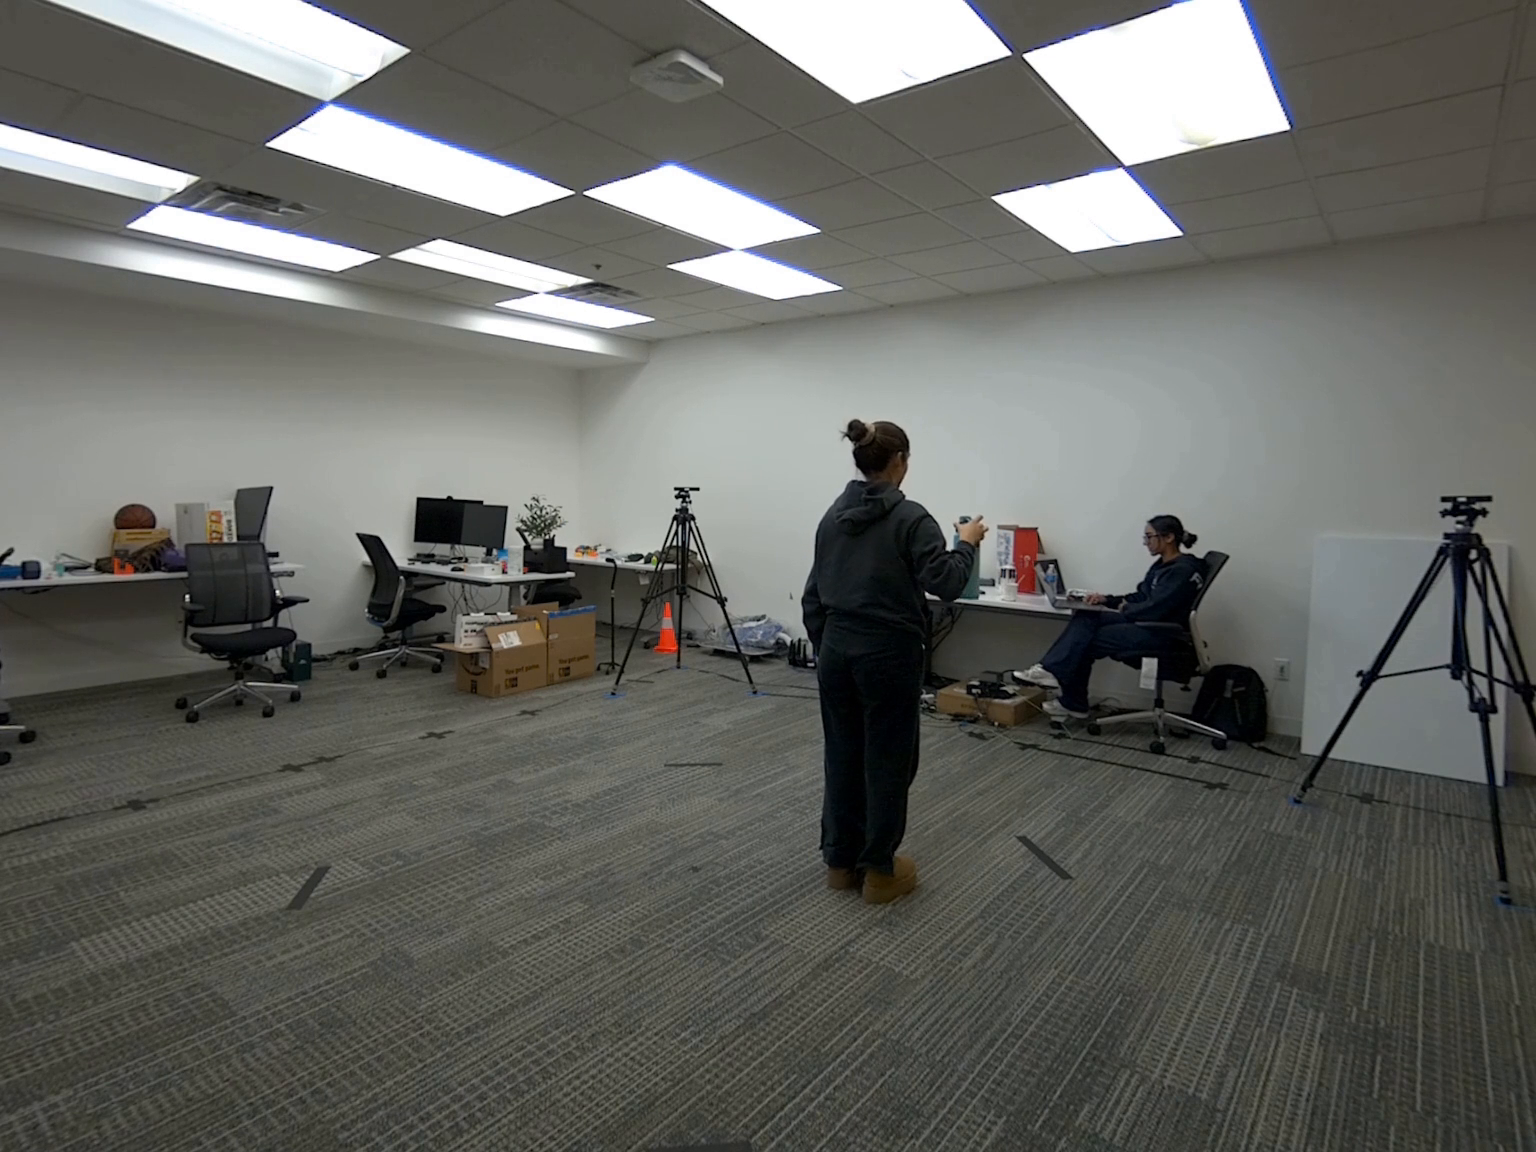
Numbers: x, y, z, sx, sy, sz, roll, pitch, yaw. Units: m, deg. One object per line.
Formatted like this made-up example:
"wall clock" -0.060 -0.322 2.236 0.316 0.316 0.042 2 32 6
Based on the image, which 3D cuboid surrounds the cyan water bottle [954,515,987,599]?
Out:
"cyan water bottle" 0.681 -0.058 2.900 0.092 0.285 0.092 3 -6 -2
